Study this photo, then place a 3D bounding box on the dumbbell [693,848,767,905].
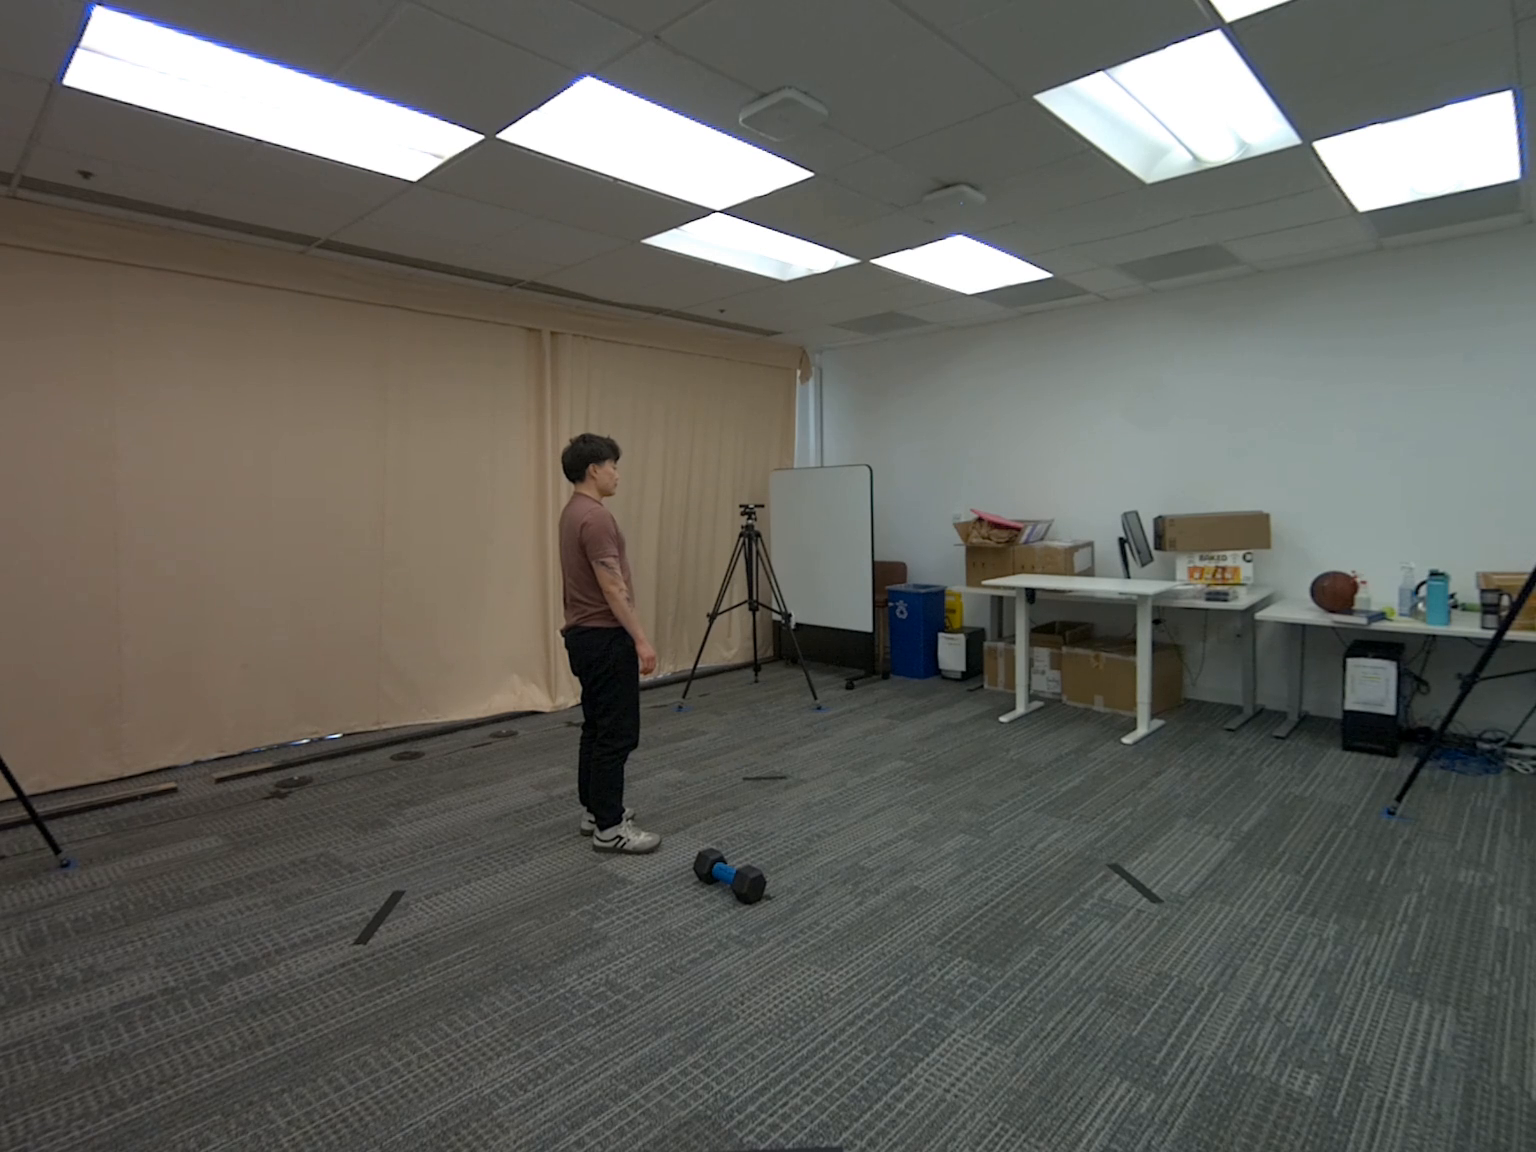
[{"bbox_3d":[-0.137,1.081,3.045,0.303,0.120,0.107,5,37,47],"label":"dumbbell"}]
